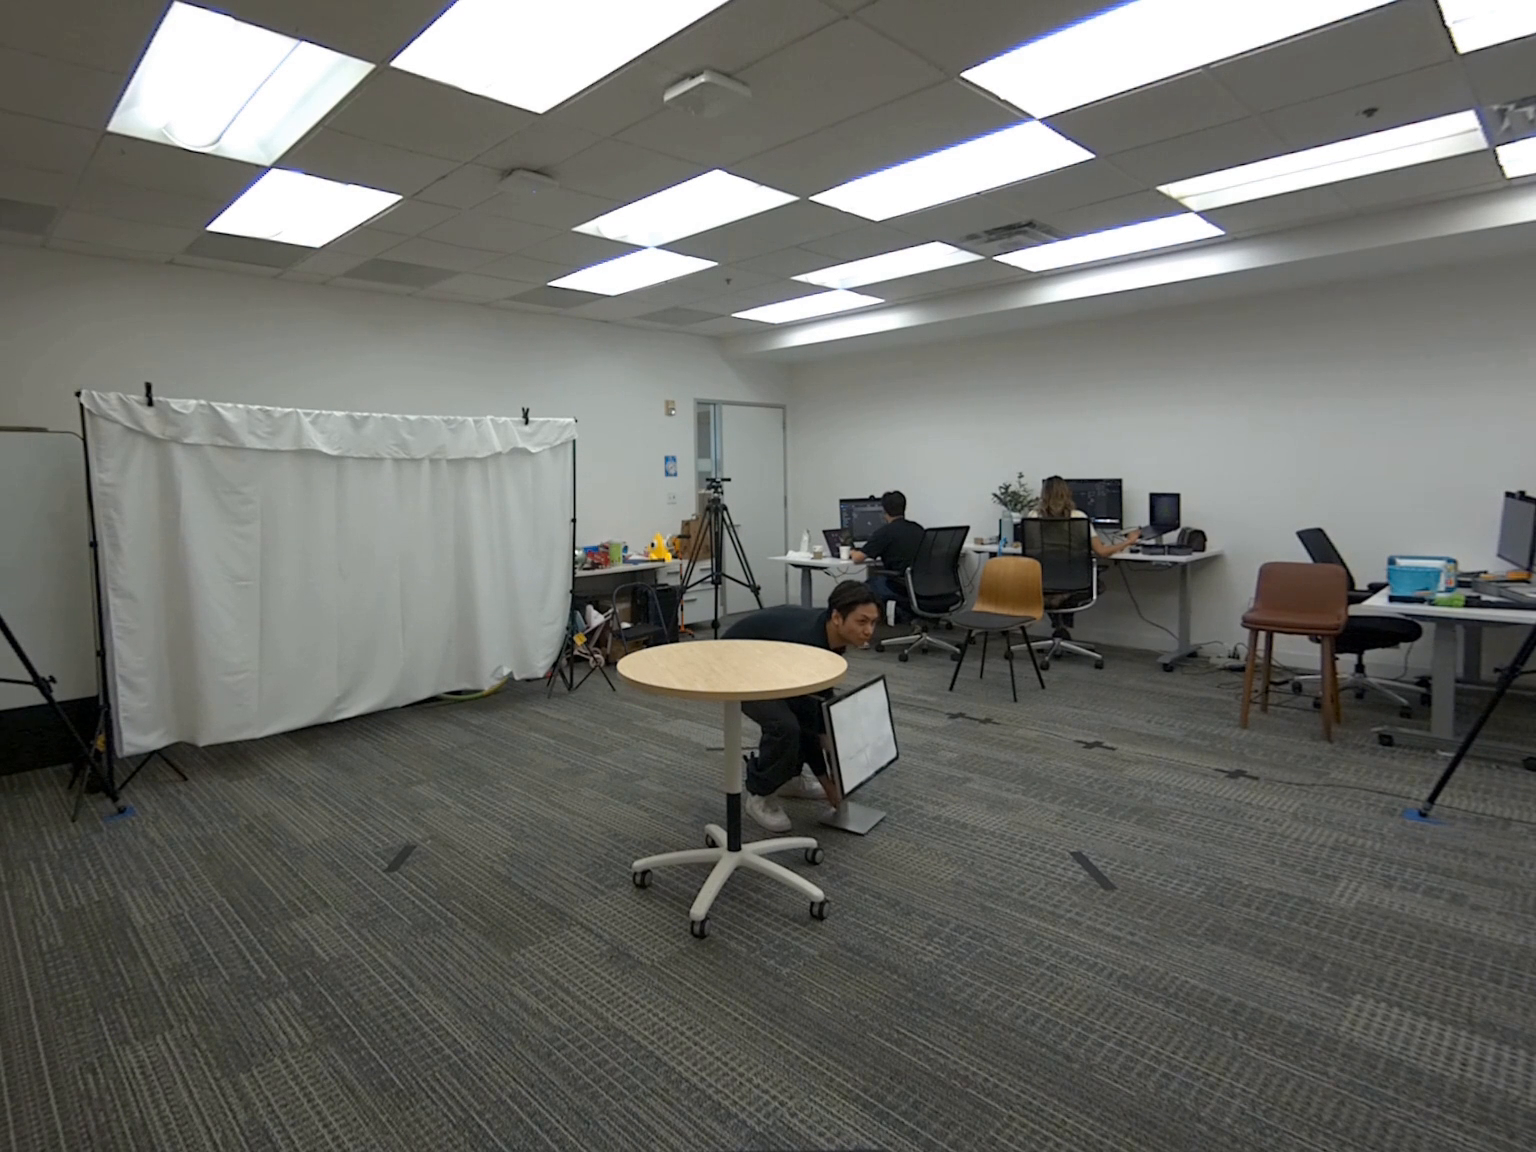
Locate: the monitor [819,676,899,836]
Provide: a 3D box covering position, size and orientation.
[{"bbox_3d":[0.343,0.713,3.447,0.192,0.520,0.527,3,6,31],"label":"monitor"}]
